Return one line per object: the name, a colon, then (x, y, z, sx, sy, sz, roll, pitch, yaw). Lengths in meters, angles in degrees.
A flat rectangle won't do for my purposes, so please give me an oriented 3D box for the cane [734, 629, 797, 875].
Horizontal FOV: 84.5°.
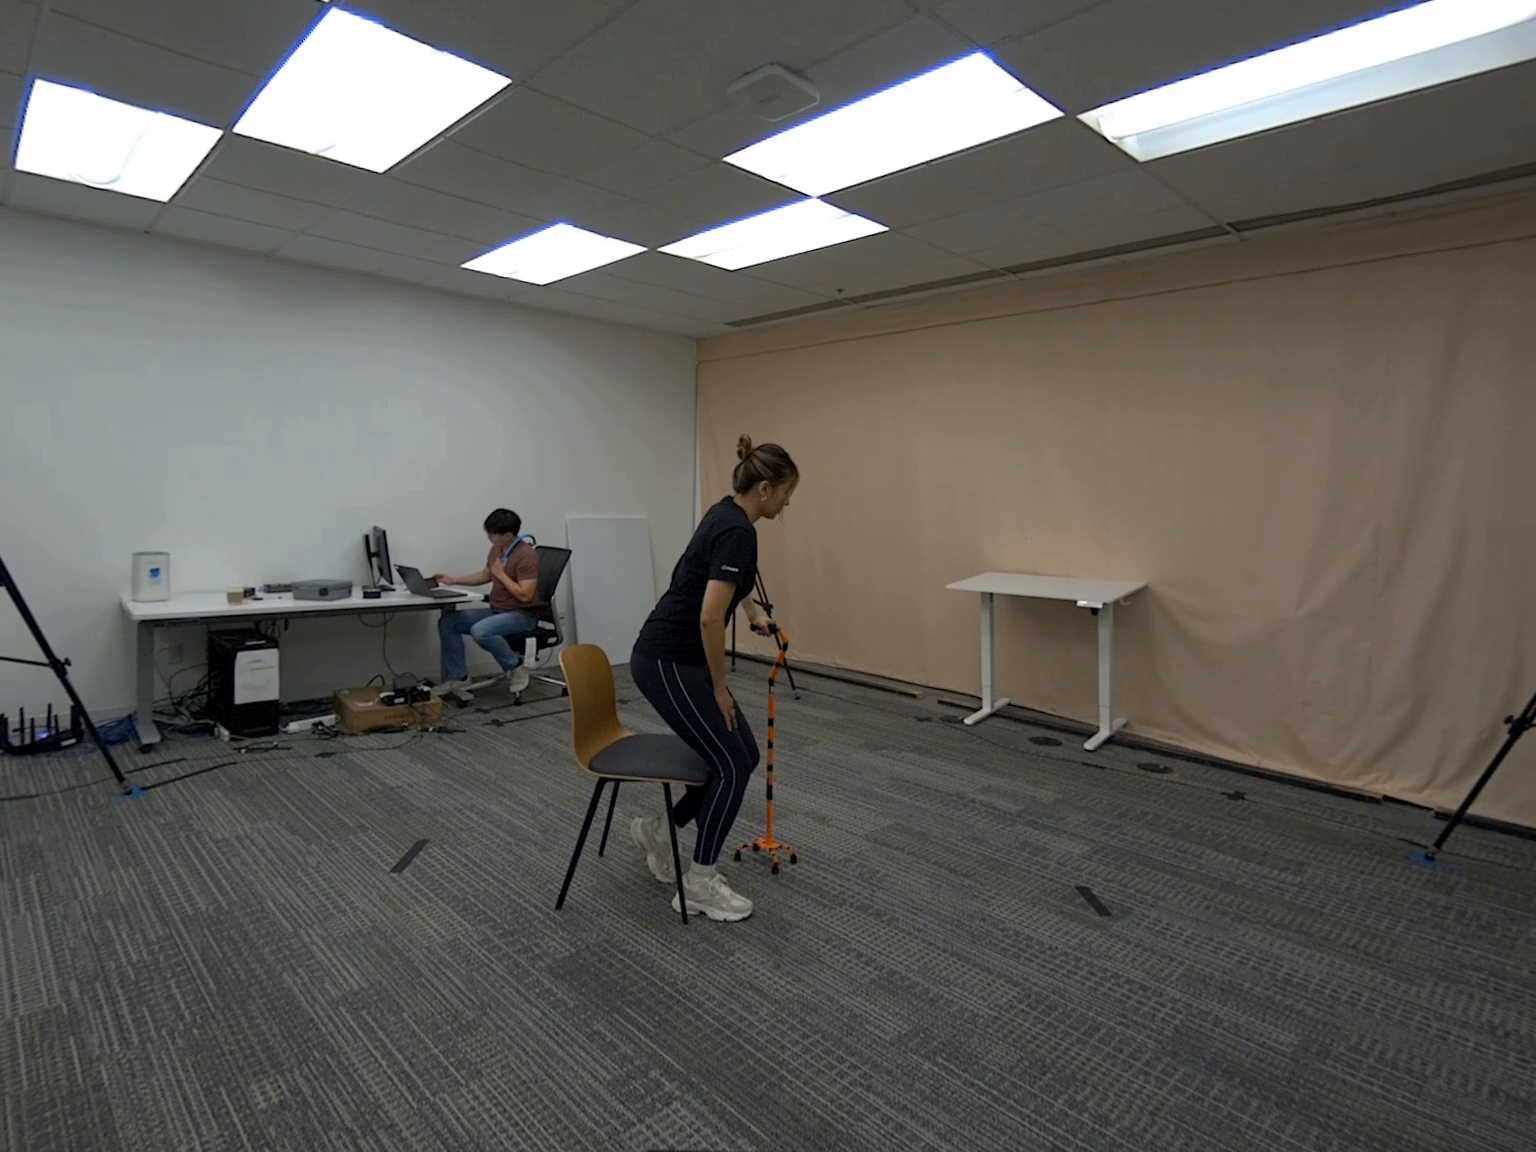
cane: (-0.005, 0.646, 3.216, 0.211, 0.906, 0.148, 3, 3, 38)
